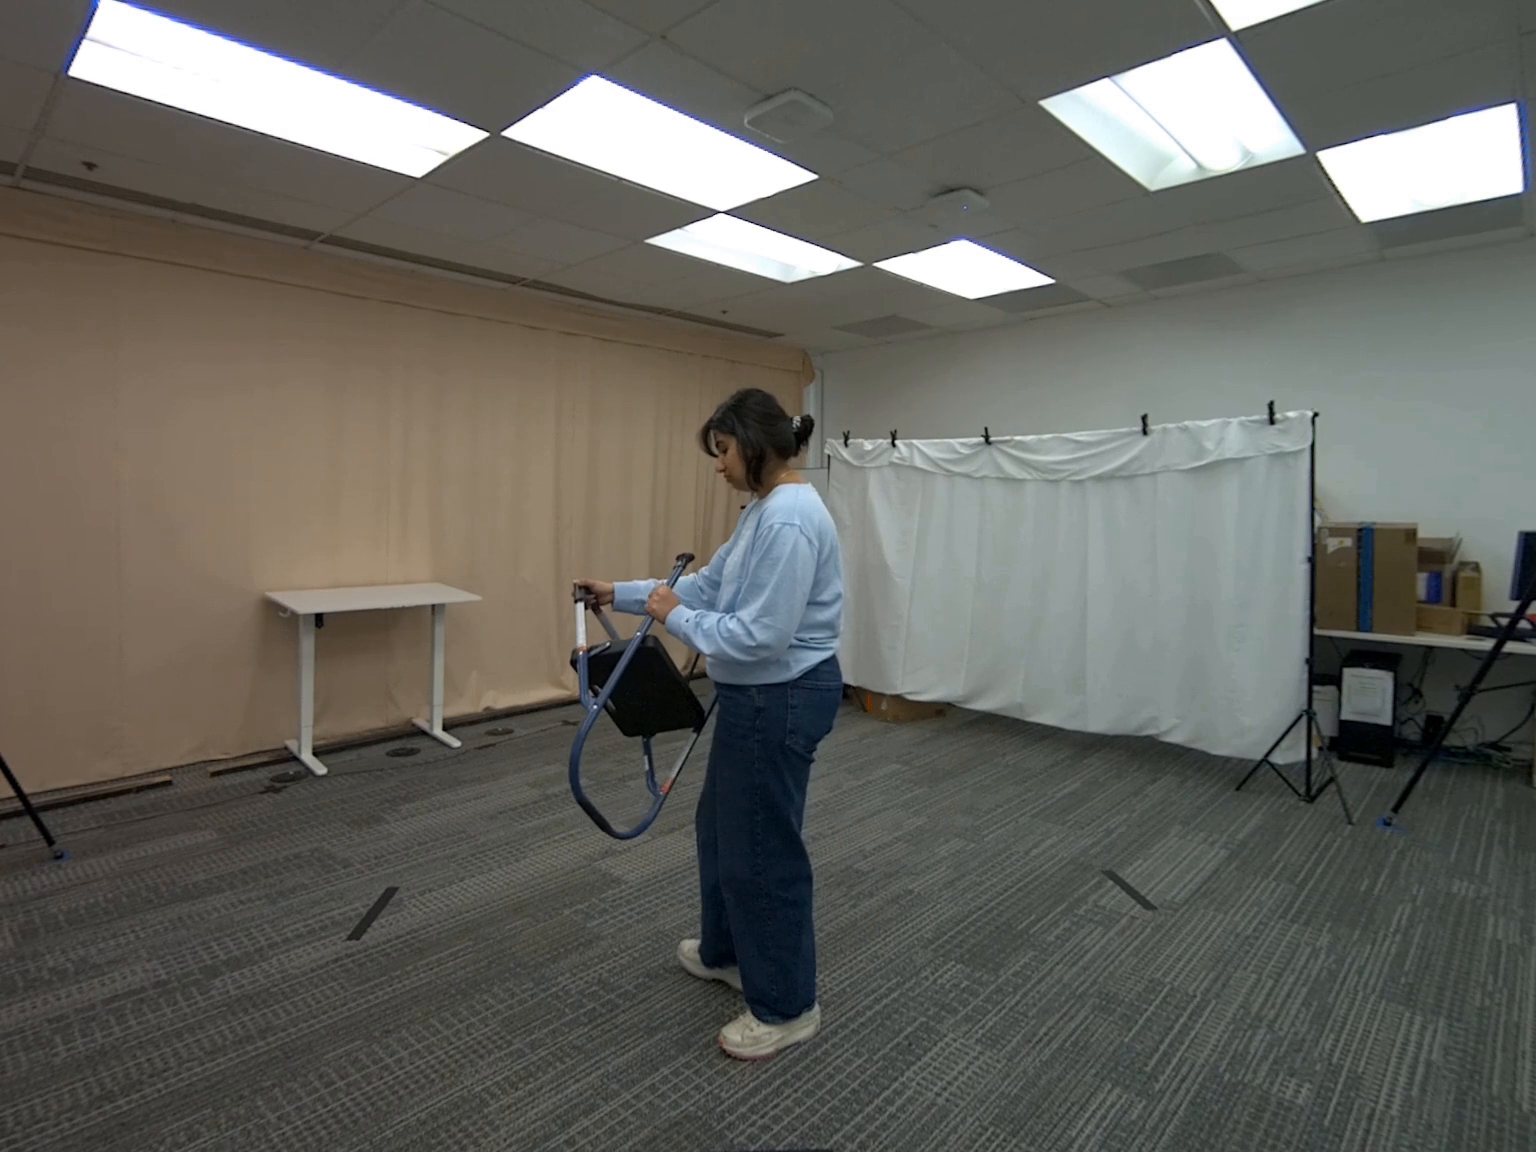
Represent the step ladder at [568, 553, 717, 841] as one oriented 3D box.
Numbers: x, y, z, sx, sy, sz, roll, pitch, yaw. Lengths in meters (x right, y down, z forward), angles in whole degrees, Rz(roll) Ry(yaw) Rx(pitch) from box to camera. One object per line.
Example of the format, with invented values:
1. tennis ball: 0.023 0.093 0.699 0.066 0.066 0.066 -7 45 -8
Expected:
1. step ladder: -0.317 0.330 2.146 0.355 0.418 0.614 -12 41 17
